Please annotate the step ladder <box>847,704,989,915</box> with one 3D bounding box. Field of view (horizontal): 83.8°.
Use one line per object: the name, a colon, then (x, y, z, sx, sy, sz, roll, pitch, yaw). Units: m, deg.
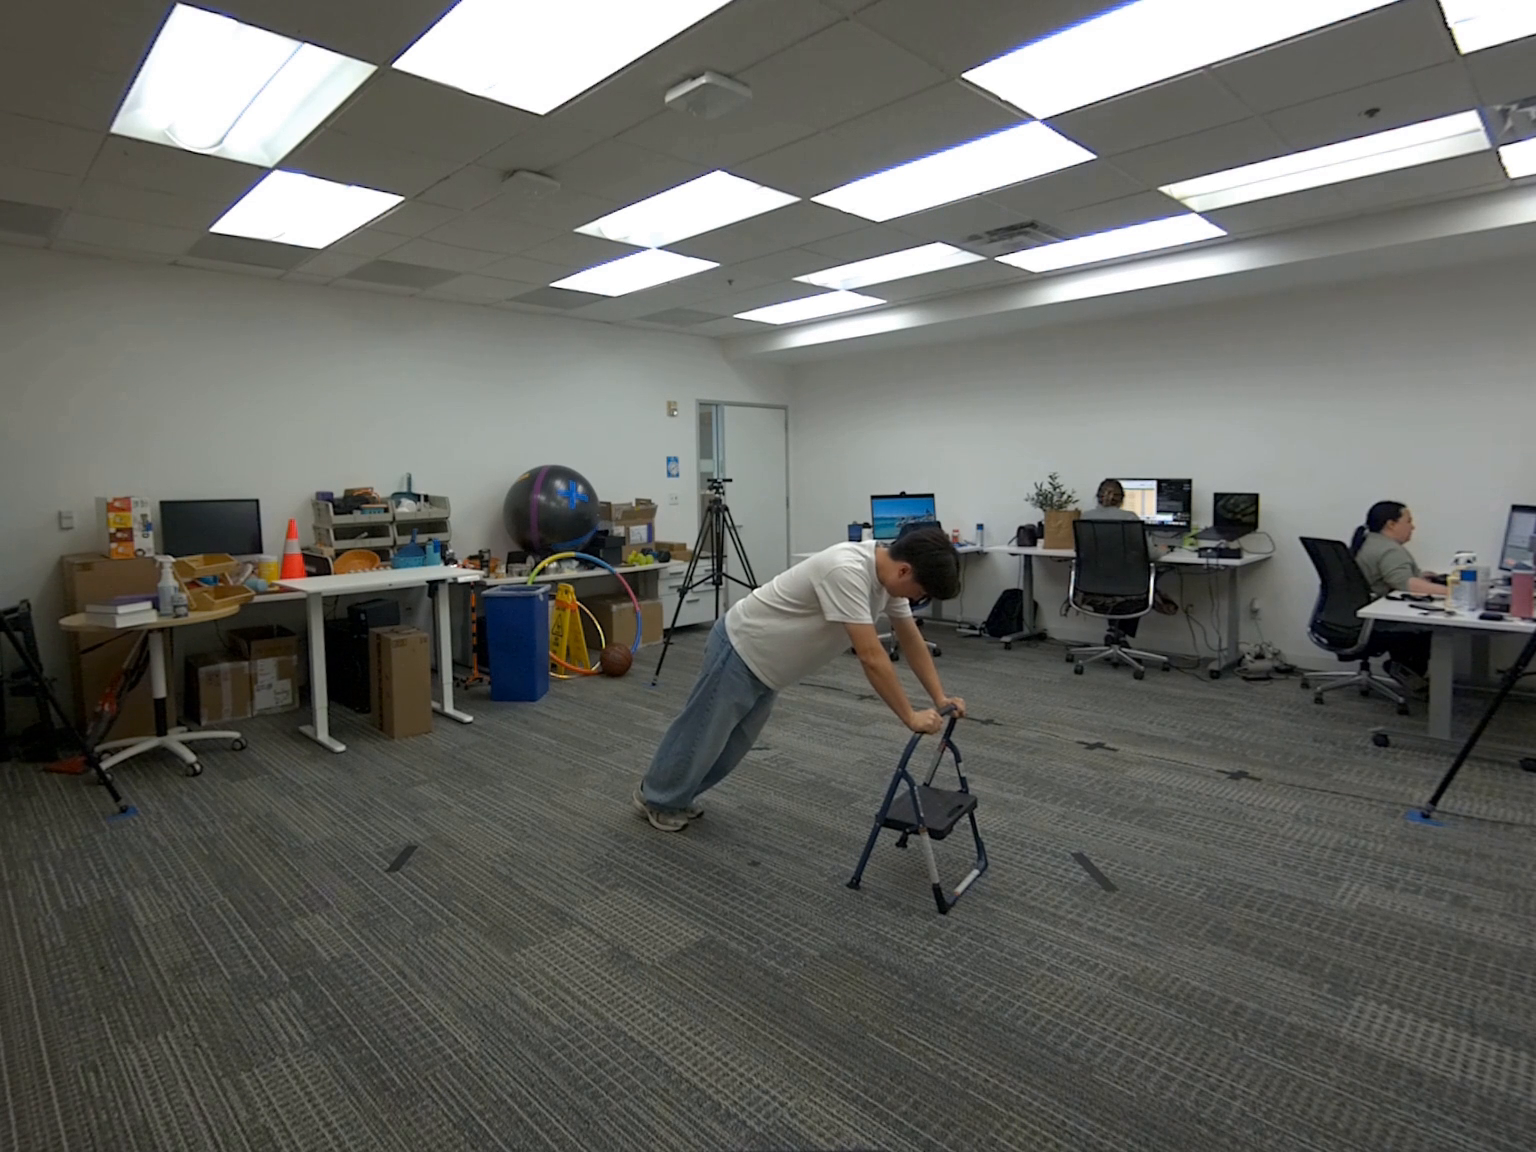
step ladder: (0.533, 0.749, 2.957, 0.359, 0.603, 0.420, 3, 6, 33)
